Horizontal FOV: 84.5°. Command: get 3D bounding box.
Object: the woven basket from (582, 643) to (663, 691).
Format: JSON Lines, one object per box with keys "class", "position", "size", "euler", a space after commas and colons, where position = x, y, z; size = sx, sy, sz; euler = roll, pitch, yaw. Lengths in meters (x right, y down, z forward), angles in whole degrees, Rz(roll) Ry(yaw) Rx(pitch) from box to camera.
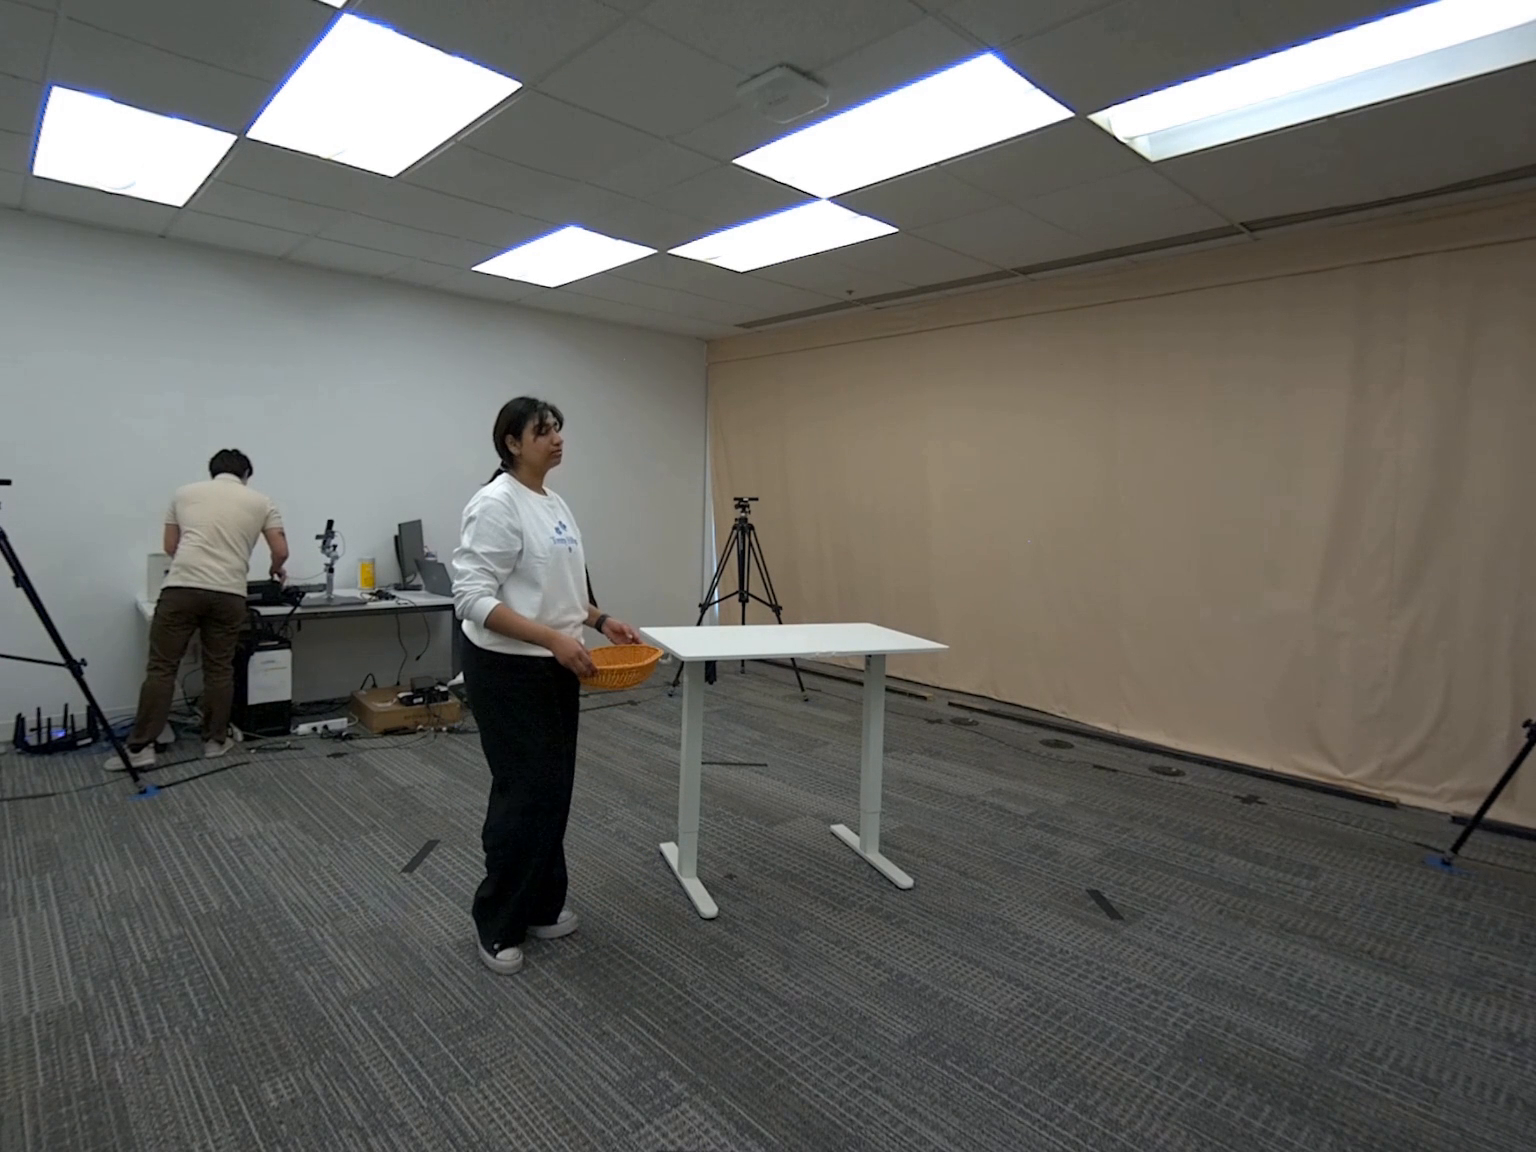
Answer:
{"class": "woven basket", "position": [-0.481, 0.275, 2.490], "size": [0.256, 0.073, 0.346], "euler": [1, 6, 19]}
